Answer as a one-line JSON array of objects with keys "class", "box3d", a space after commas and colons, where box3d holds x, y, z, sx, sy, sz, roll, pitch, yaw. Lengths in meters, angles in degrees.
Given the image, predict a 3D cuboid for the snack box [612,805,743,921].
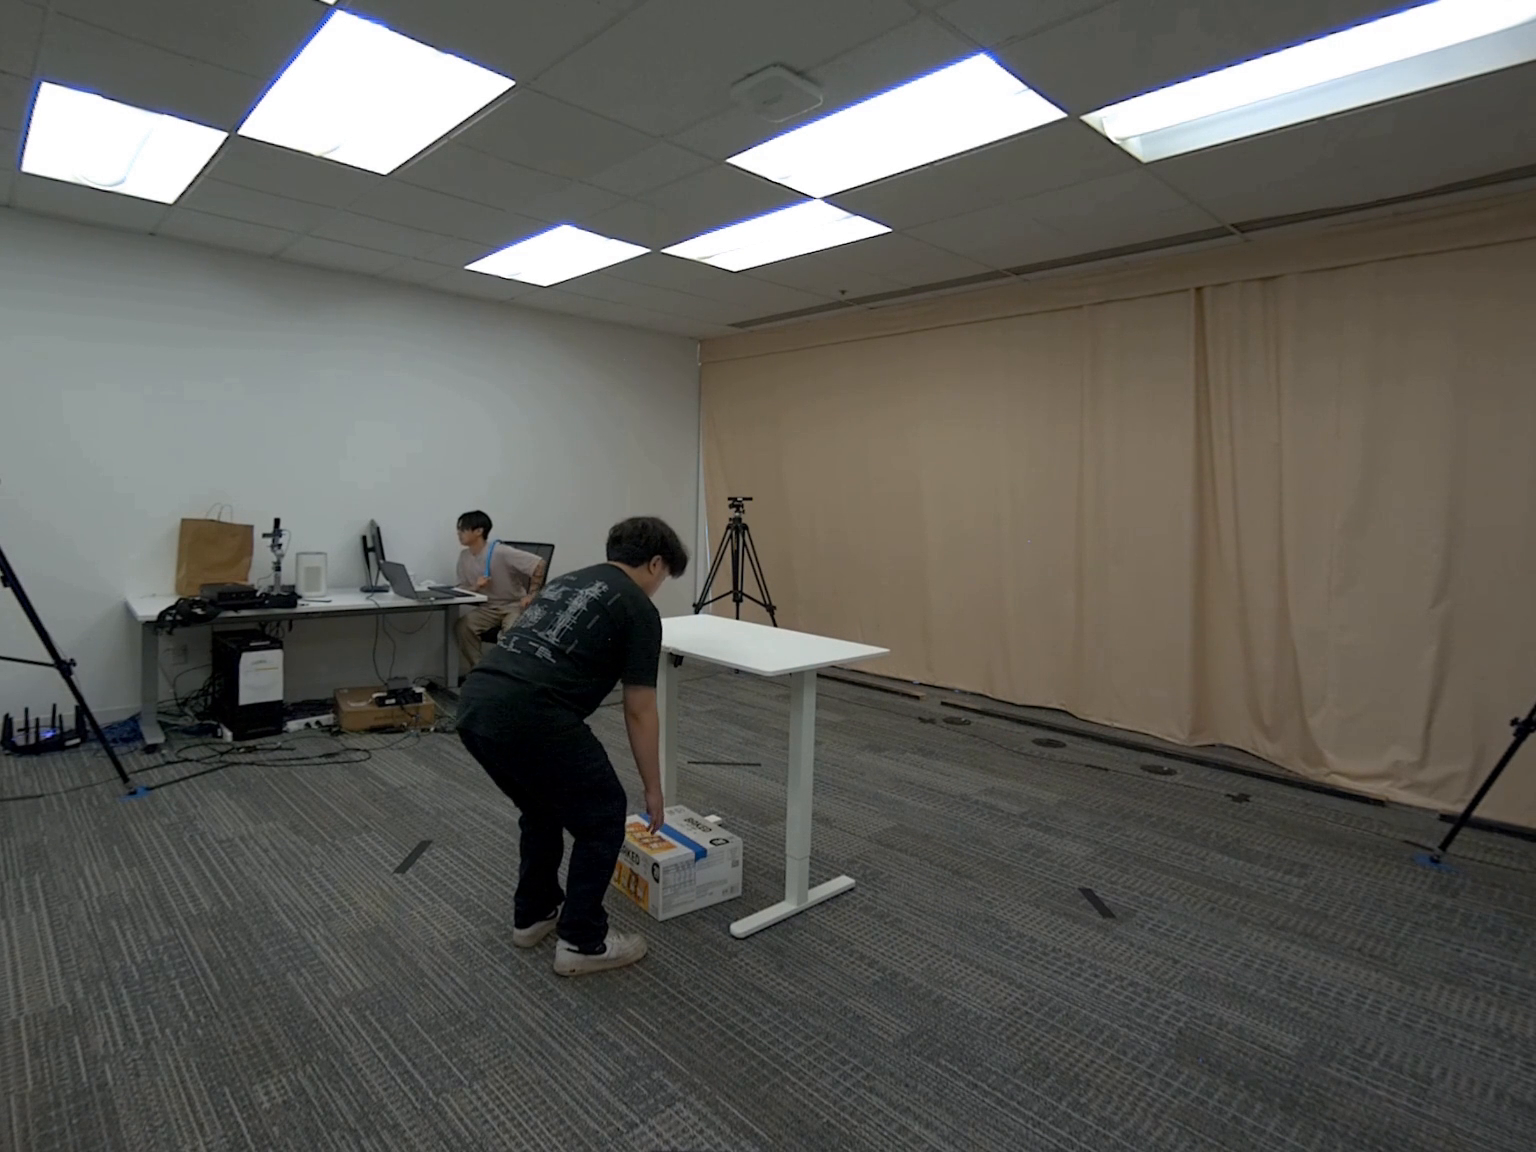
[{"class": "snack box", "box3d": [-0.354, 1.013, 3.003, 0.333, 0.205, 0.415, -2, 6, -37]}]
